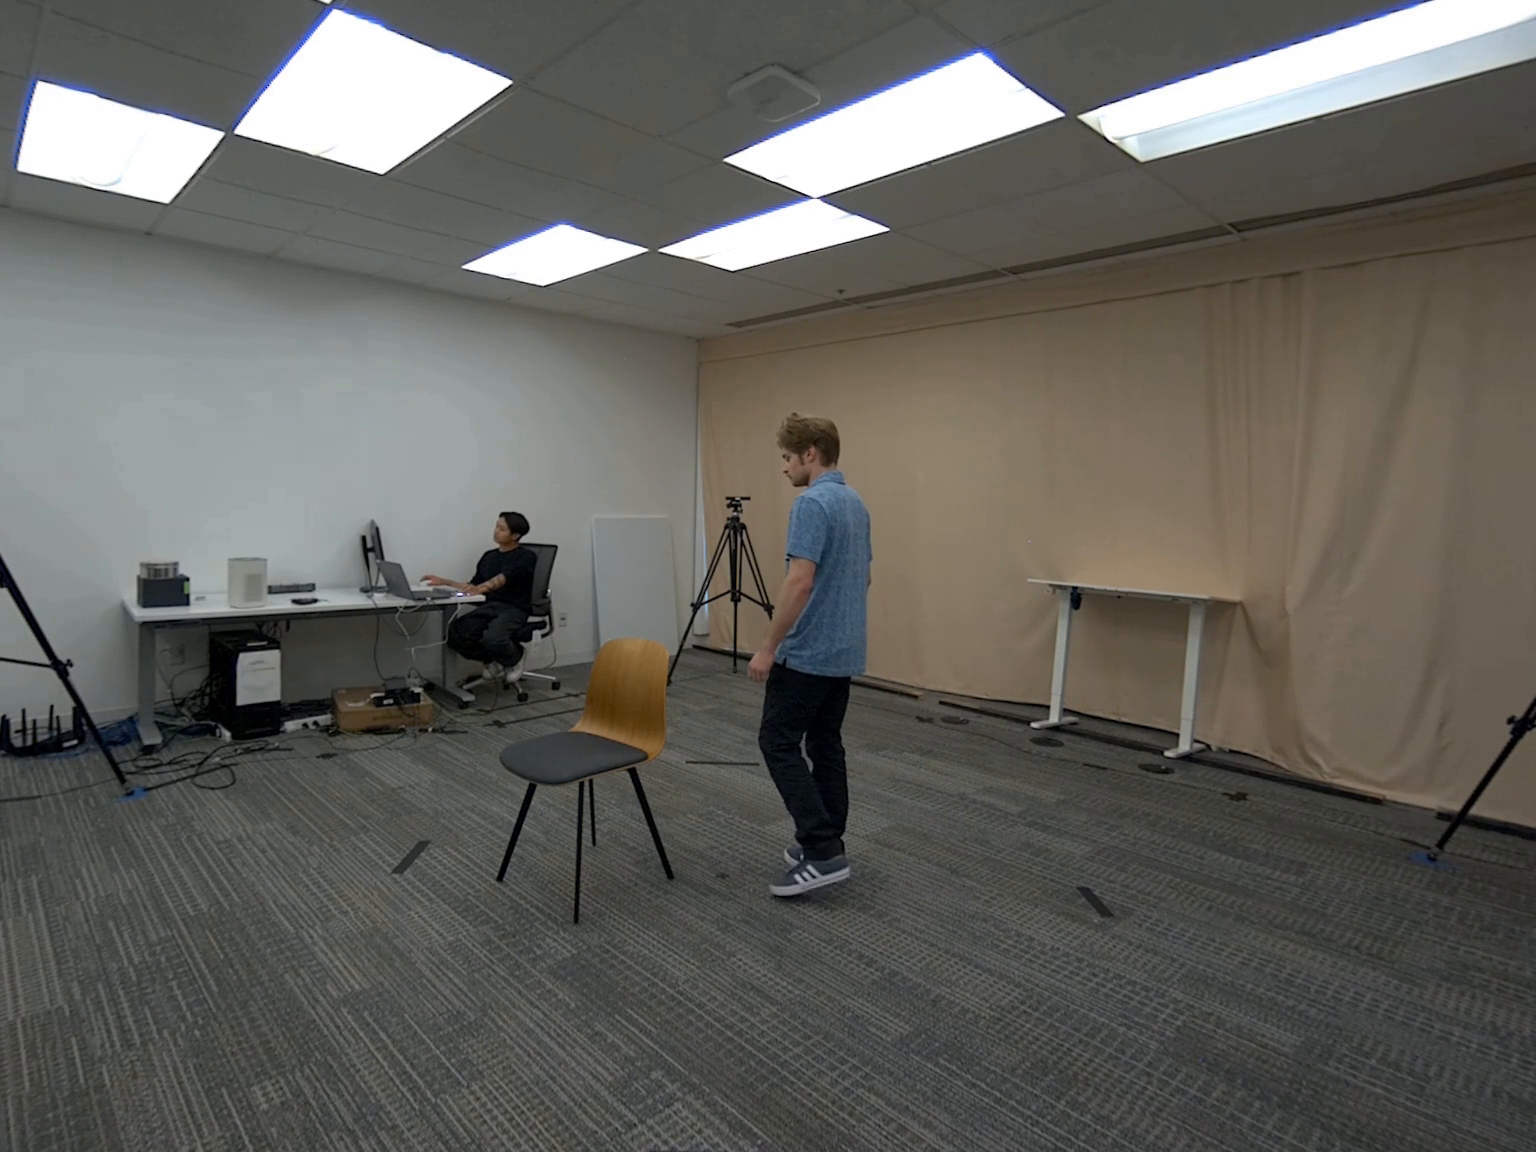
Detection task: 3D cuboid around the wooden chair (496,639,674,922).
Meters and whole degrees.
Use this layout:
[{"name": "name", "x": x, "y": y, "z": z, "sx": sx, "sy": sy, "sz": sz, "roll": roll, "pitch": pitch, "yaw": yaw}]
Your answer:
[{"name": "wooden chair", "x": -0.656, "y": 0.677, "z": 3.003, "sx": 0.490, "sy": 0.877, "sz": 0.510, "roll": 4, "pitch": 0, "yaw": 39}]
